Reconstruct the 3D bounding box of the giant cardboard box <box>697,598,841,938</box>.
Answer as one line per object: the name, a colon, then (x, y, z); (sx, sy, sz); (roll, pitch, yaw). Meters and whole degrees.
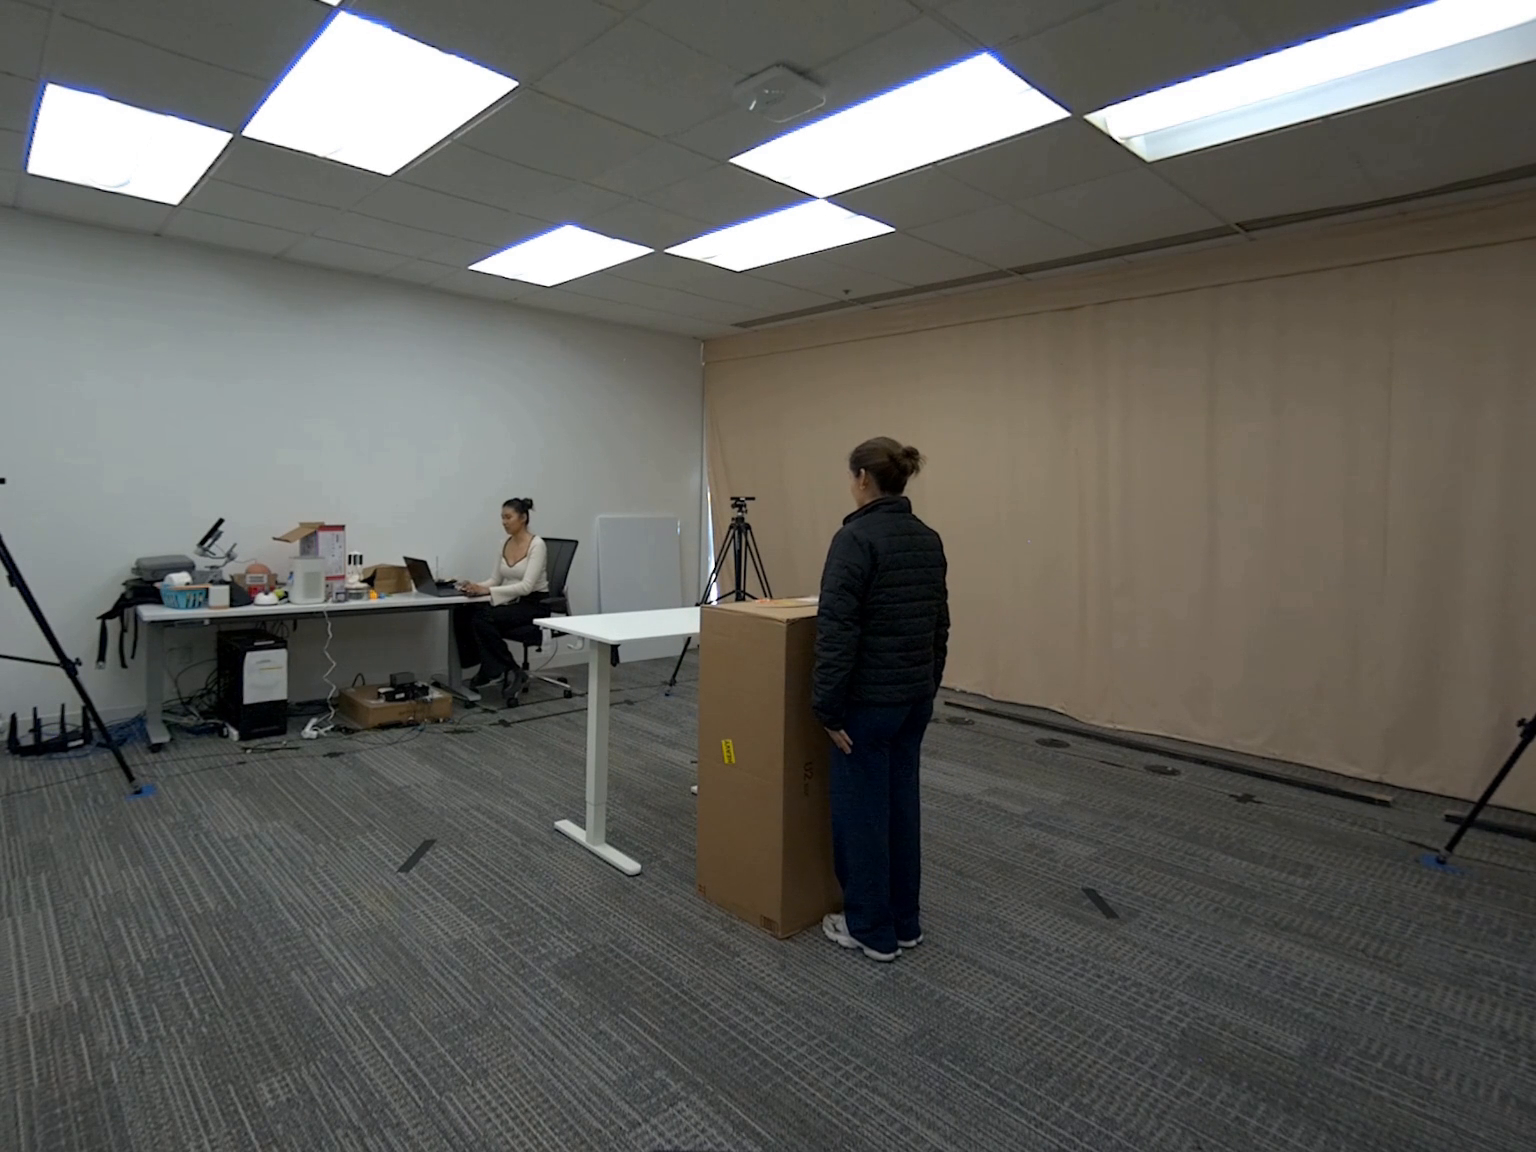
giant cardboard box: (0.097, 0.616, 2.971); (0.564, 1.023, 0.437); (-2, 5, -43)
